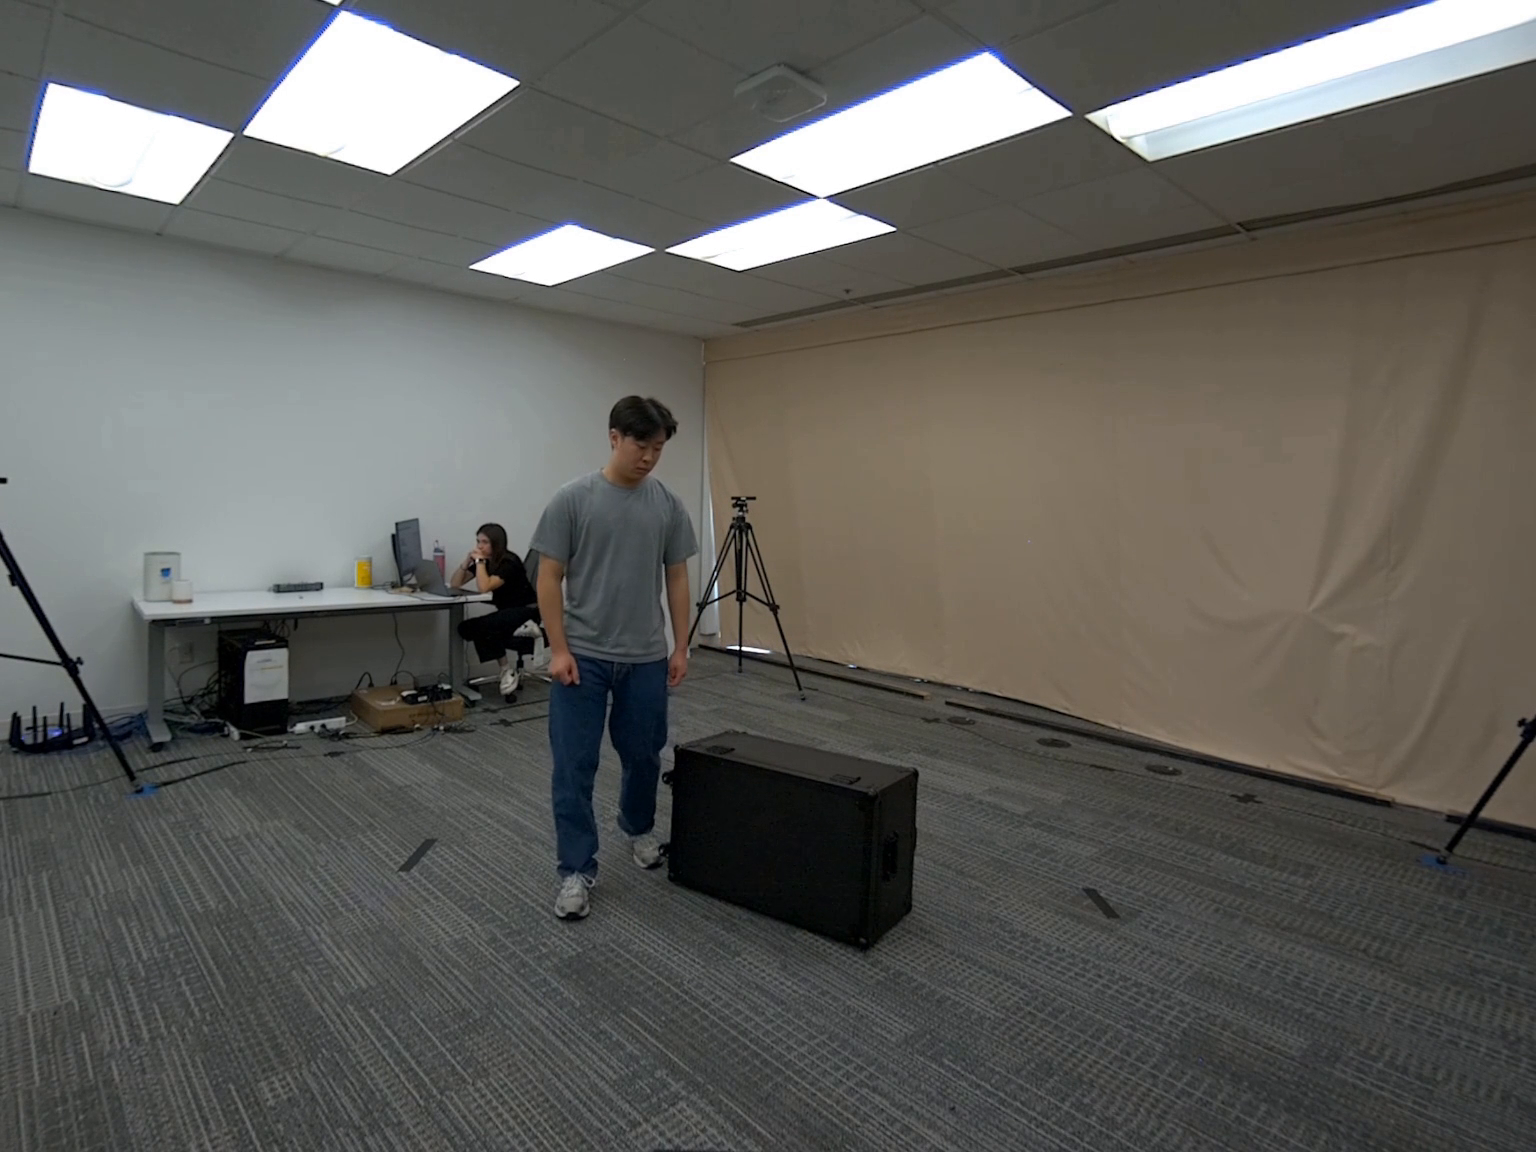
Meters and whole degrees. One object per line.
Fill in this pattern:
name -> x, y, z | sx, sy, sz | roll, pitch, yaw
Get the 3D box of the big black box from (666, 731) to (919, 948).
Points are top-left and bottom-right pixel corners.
big black box -> 0.054, 0.865, 2.965 | 0.881, 0.520, 0.387 | 4, 3, 33
